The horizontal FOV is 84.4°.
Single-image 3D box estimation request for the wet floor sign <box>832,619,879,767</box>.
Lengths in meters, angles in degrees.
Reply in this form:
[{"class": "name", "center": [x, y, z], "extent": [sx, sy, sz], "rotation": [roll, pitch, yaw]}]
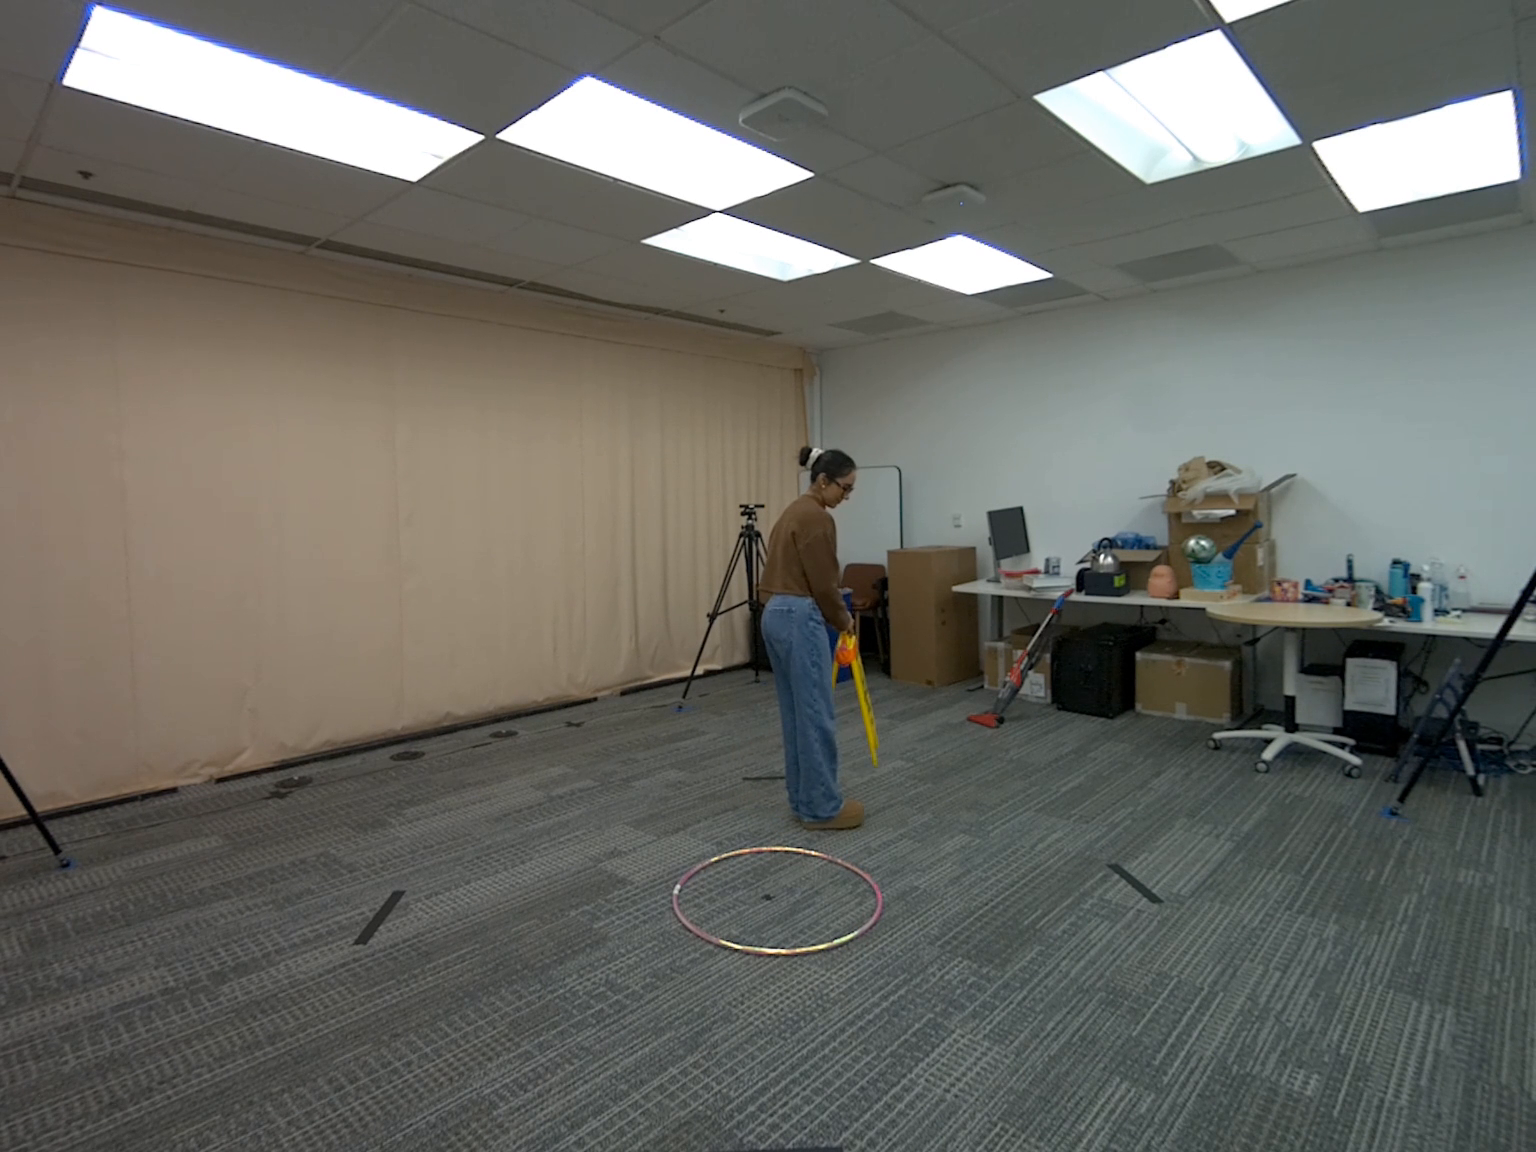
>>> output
[{"class": "wet floor sign", "center": [0.365, 0.511, 3.843], "extent": [0.293, 0.641, 0.281], "rotation": [0, 11, 10]}]
